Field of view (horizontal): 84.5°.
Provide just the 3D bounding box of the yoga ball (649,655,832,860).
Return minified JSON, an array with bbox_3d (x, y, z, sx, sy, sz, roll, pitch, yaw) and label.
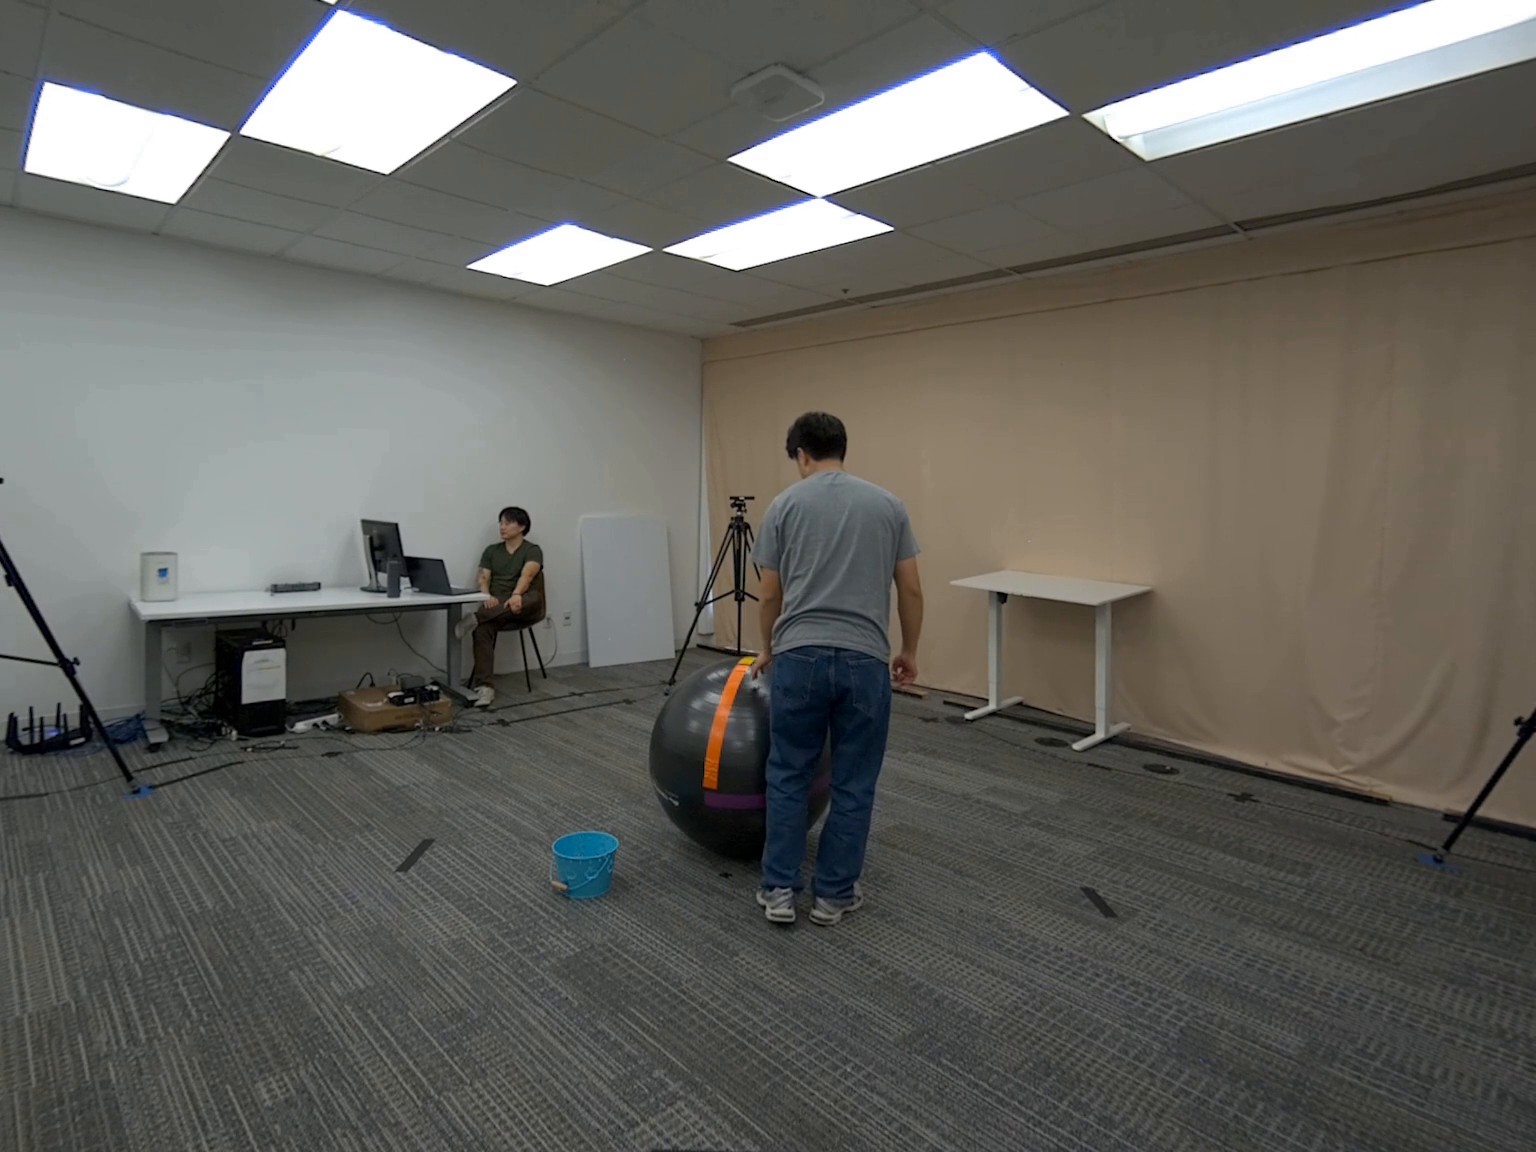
[{"bbox_3d":[-0.097,0.710,3.347,0.757,0.756,0.761,1,4,-1],"label":"yoga ball"}]
